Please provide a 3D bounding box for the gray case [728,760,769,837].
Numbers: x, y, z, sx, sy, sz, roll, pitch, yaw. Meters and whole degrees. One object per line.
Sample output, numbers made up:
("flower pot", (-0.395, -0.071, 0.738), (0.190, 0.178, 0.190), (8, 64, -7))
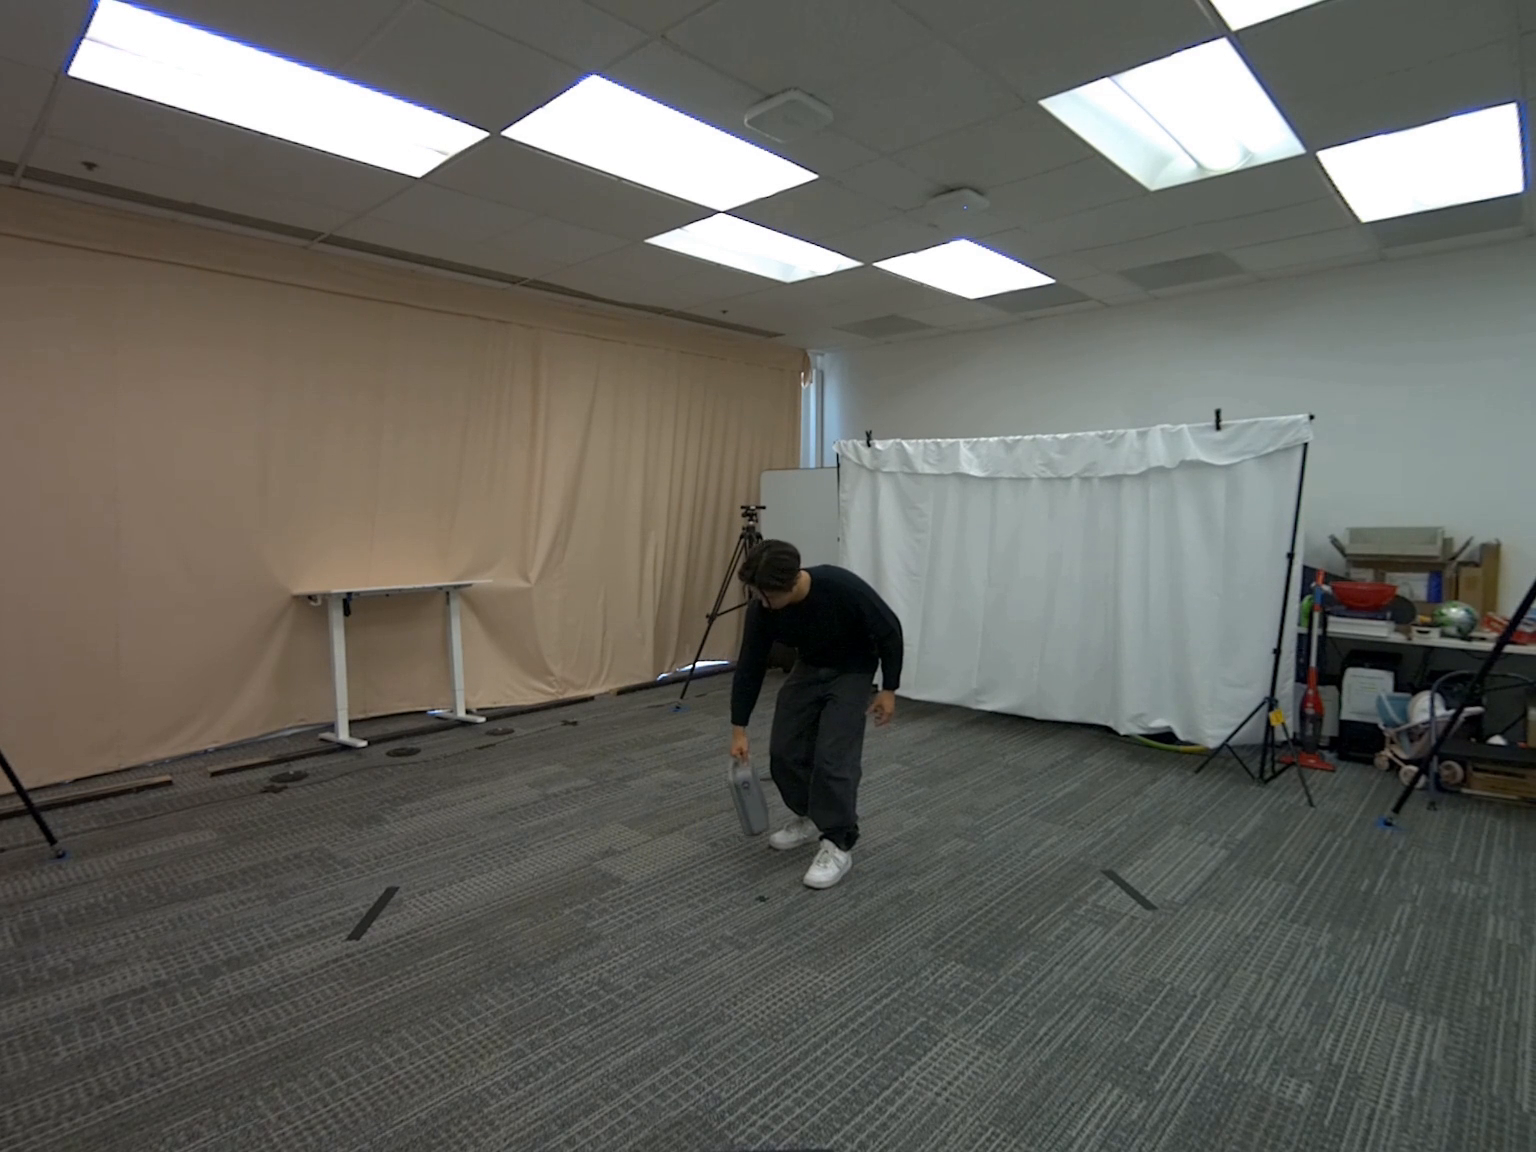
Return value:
("gray case", (-0.078, 0.853, 3.325), (0.104, 0.259, 0.258), (-16, 7, 0))
